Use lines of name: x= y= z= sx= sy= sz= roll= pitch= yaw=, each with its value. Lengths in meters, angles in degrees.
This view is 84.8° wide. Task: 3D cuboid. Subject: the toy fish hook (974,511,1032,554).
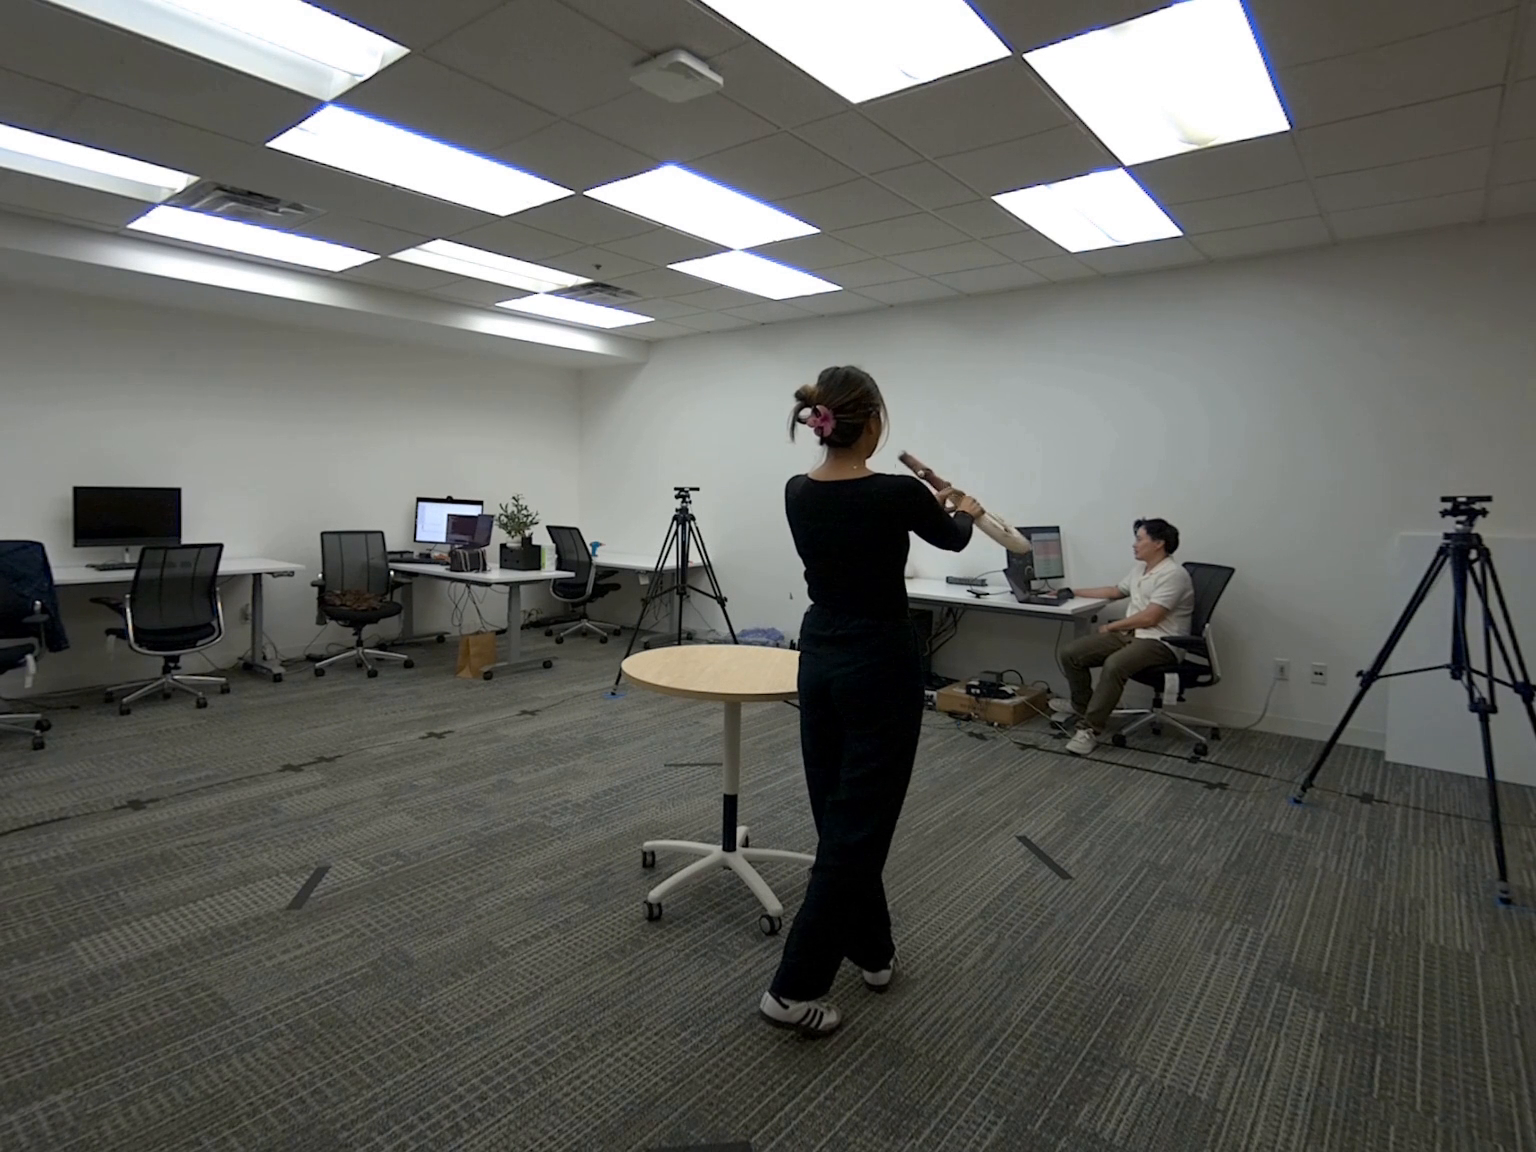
toy fish hook: x=0.616 y=-0.239 z=2.728 sx=0.522 sy=0.048 sz=0.218 roll=46 pitch=22 yaw=22
